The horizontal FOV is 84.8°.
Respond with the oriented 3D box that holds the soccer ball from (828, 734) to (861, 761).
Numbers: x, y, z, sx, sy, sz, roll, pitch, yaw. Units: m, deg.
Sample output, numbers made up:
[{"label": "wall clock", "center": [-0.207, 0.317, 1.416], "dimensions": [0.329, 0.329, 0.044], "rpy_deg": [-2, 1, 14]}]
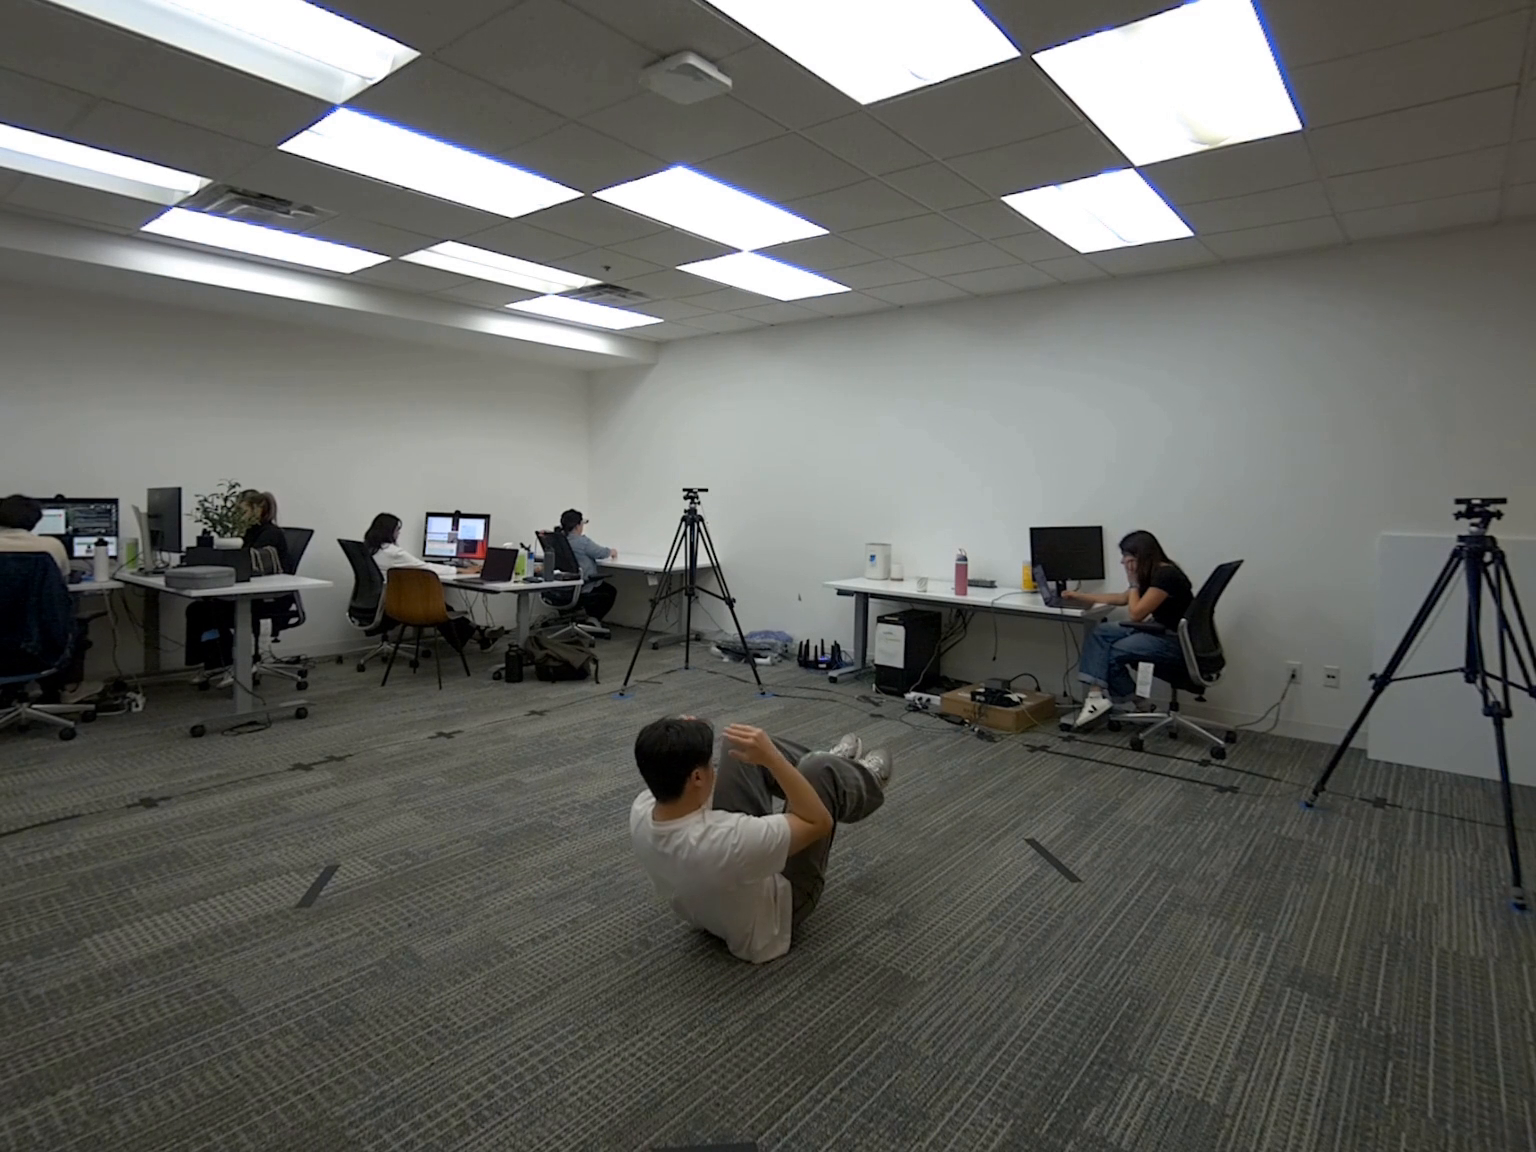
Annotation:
[{"label": "soccer ball", "center": [0.181, 0.691, 2.911], "dimensions": [0.187, 0.187, 0.188], "rpy_deg": [1, 4, -2]}]
